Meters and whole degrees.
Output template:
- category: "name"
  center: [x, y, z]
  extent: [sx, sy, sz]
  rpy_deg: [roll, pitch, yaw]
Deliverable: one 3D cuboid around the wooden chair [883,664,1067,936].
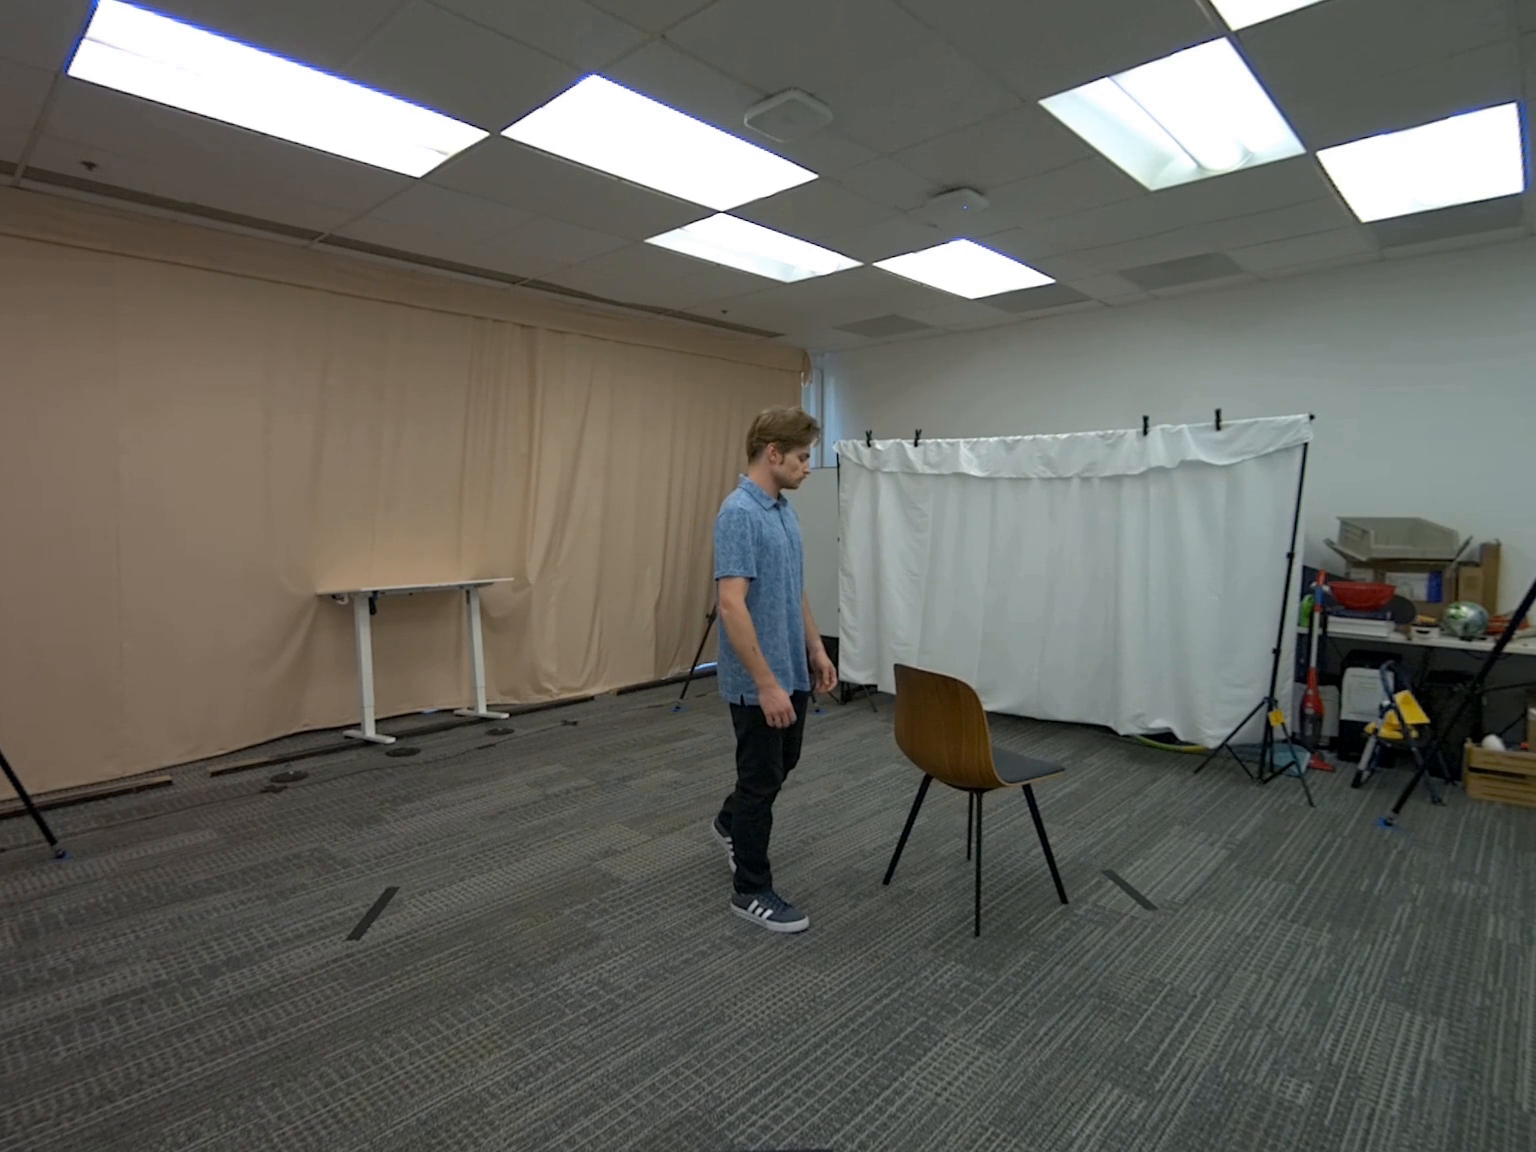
- category: "wooden chair"
  center: [0.748, 0.712, 2.988]
  extent: [0.509, 0.874, 0.493]
  rpy_deg: [-7, 6, -33]
